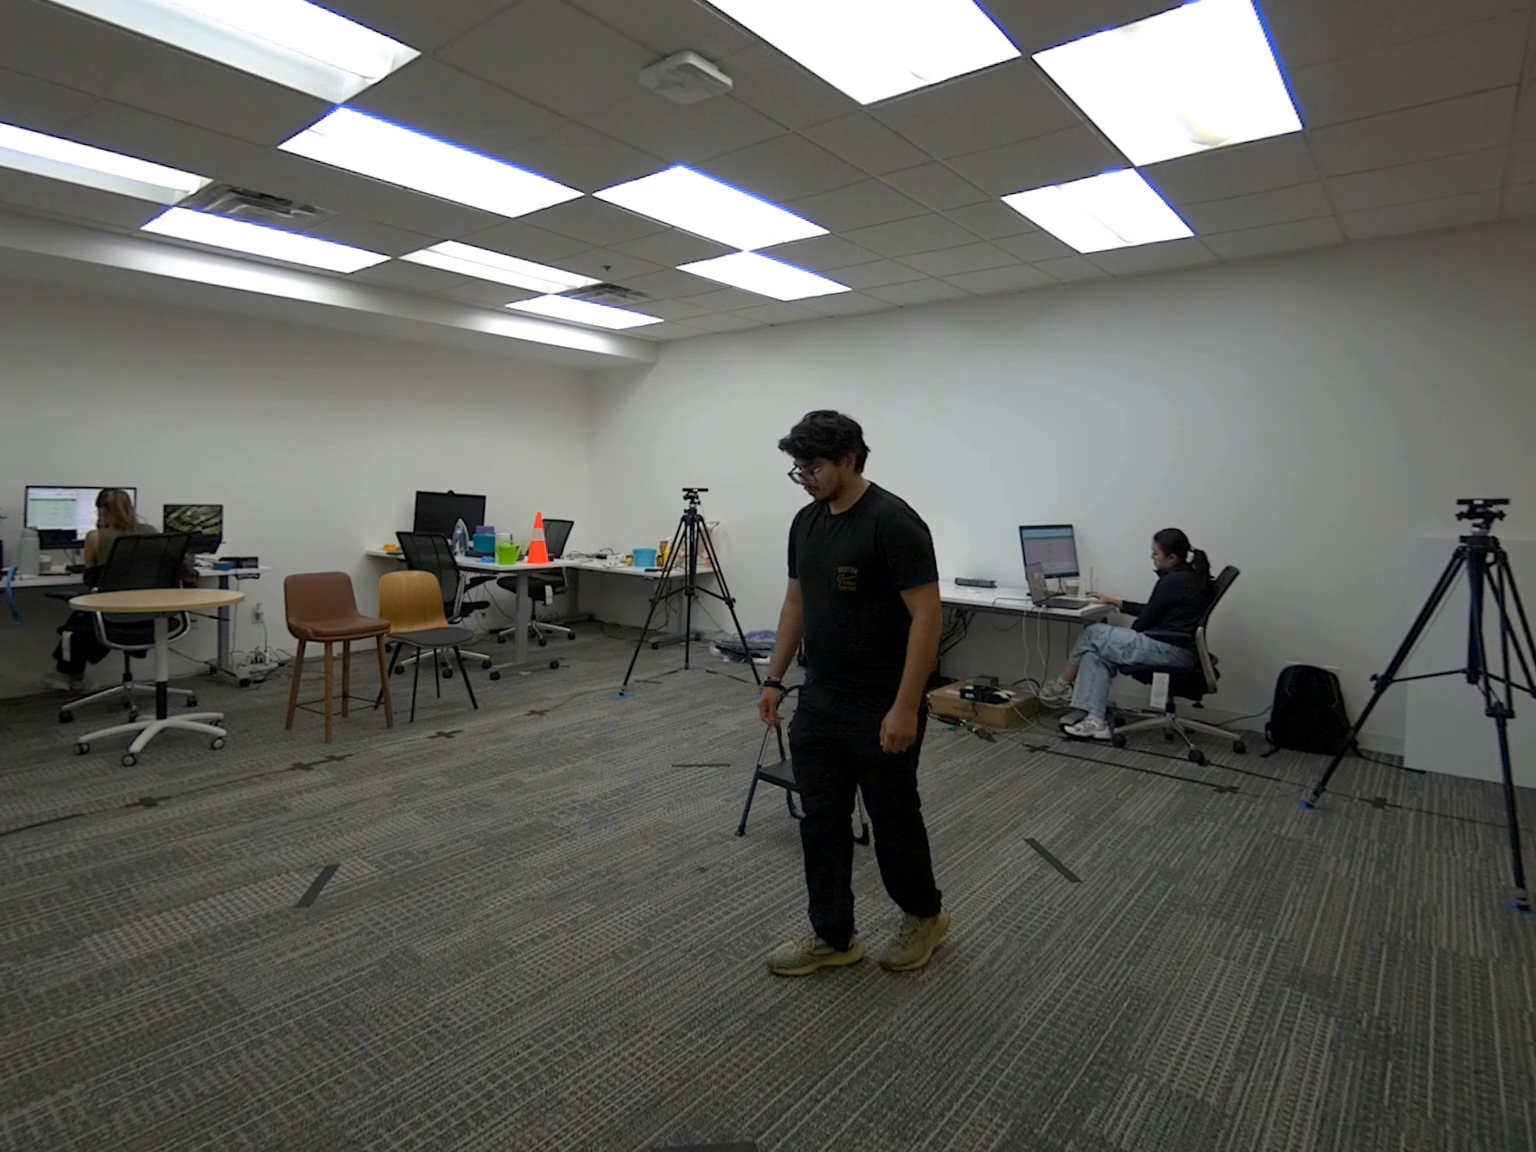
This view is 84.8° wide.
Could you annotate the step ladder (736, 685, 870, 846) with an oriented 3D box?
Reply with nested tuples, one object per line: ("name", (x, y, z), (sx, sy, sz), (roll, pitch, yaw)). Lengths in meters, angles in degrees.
("step ladder", (0.136, 0.746, 3.381), (0.445, 0.604, 0.338), (5, 4, 44))
